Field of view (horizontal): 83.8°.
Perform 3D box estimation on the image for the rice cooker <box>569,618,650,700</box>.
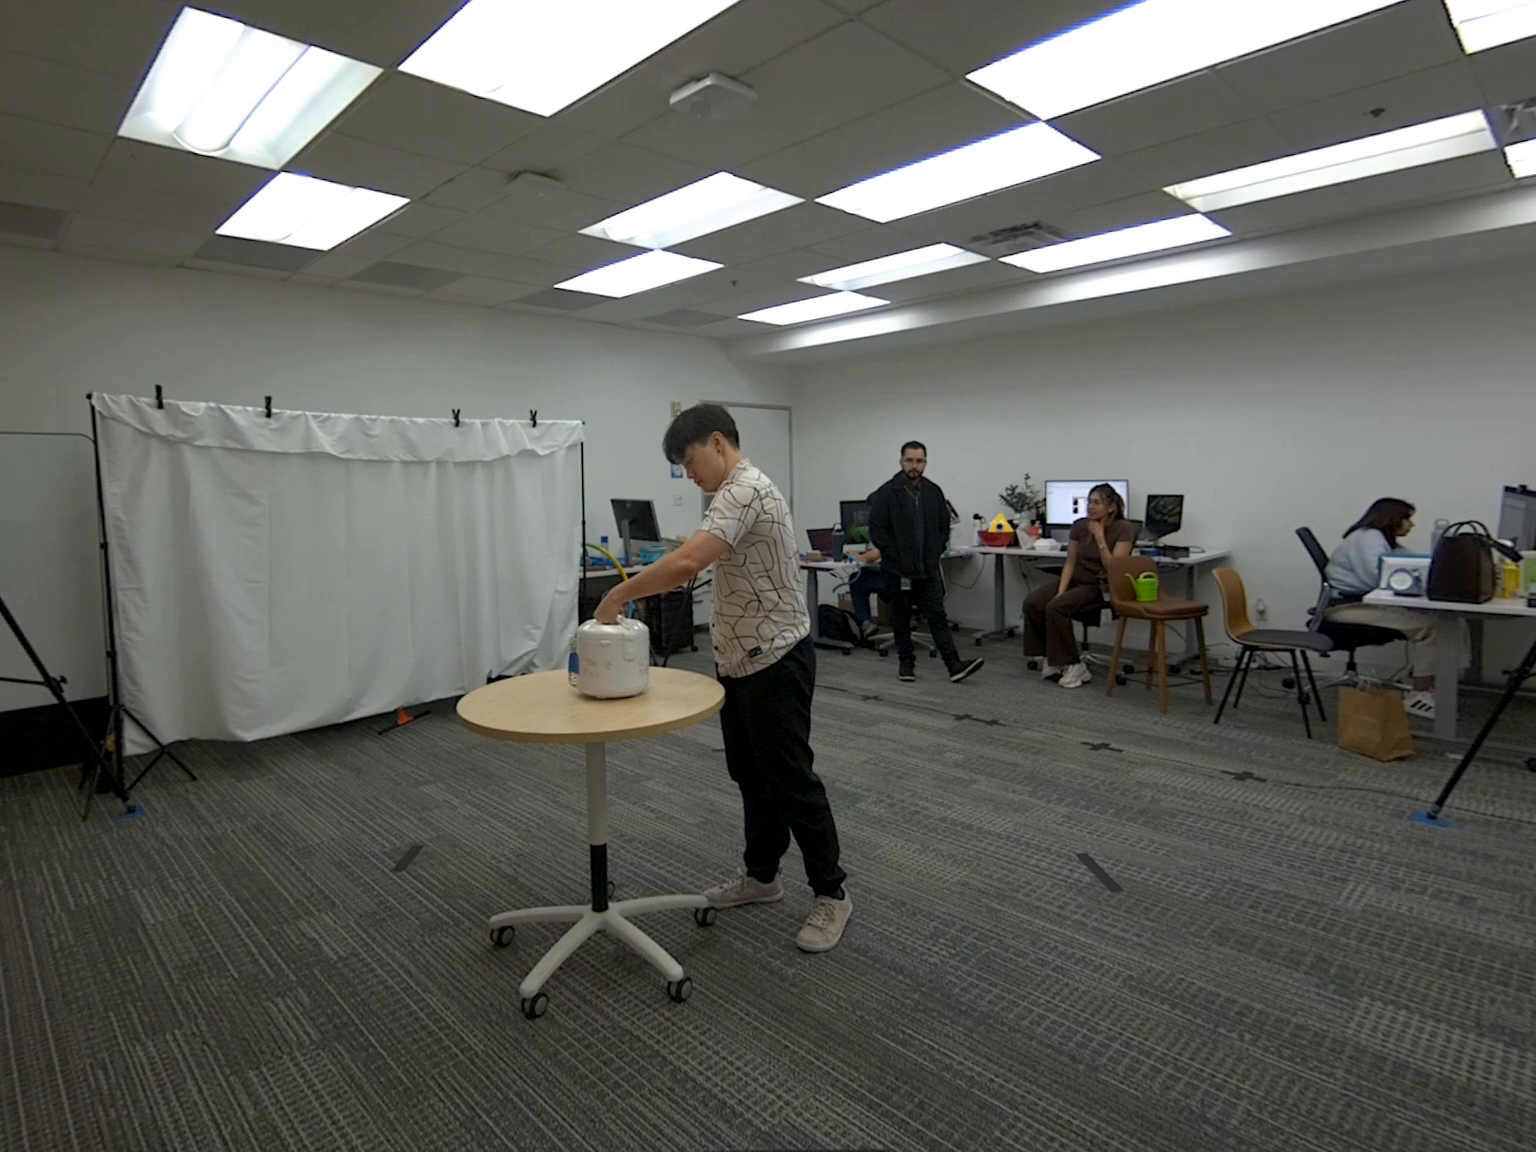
[{"bbox_3d":[-0.445,0.224,2.486,0.212,0.232,0.227,-3,5,-36],"label":"rice cooker"}]
